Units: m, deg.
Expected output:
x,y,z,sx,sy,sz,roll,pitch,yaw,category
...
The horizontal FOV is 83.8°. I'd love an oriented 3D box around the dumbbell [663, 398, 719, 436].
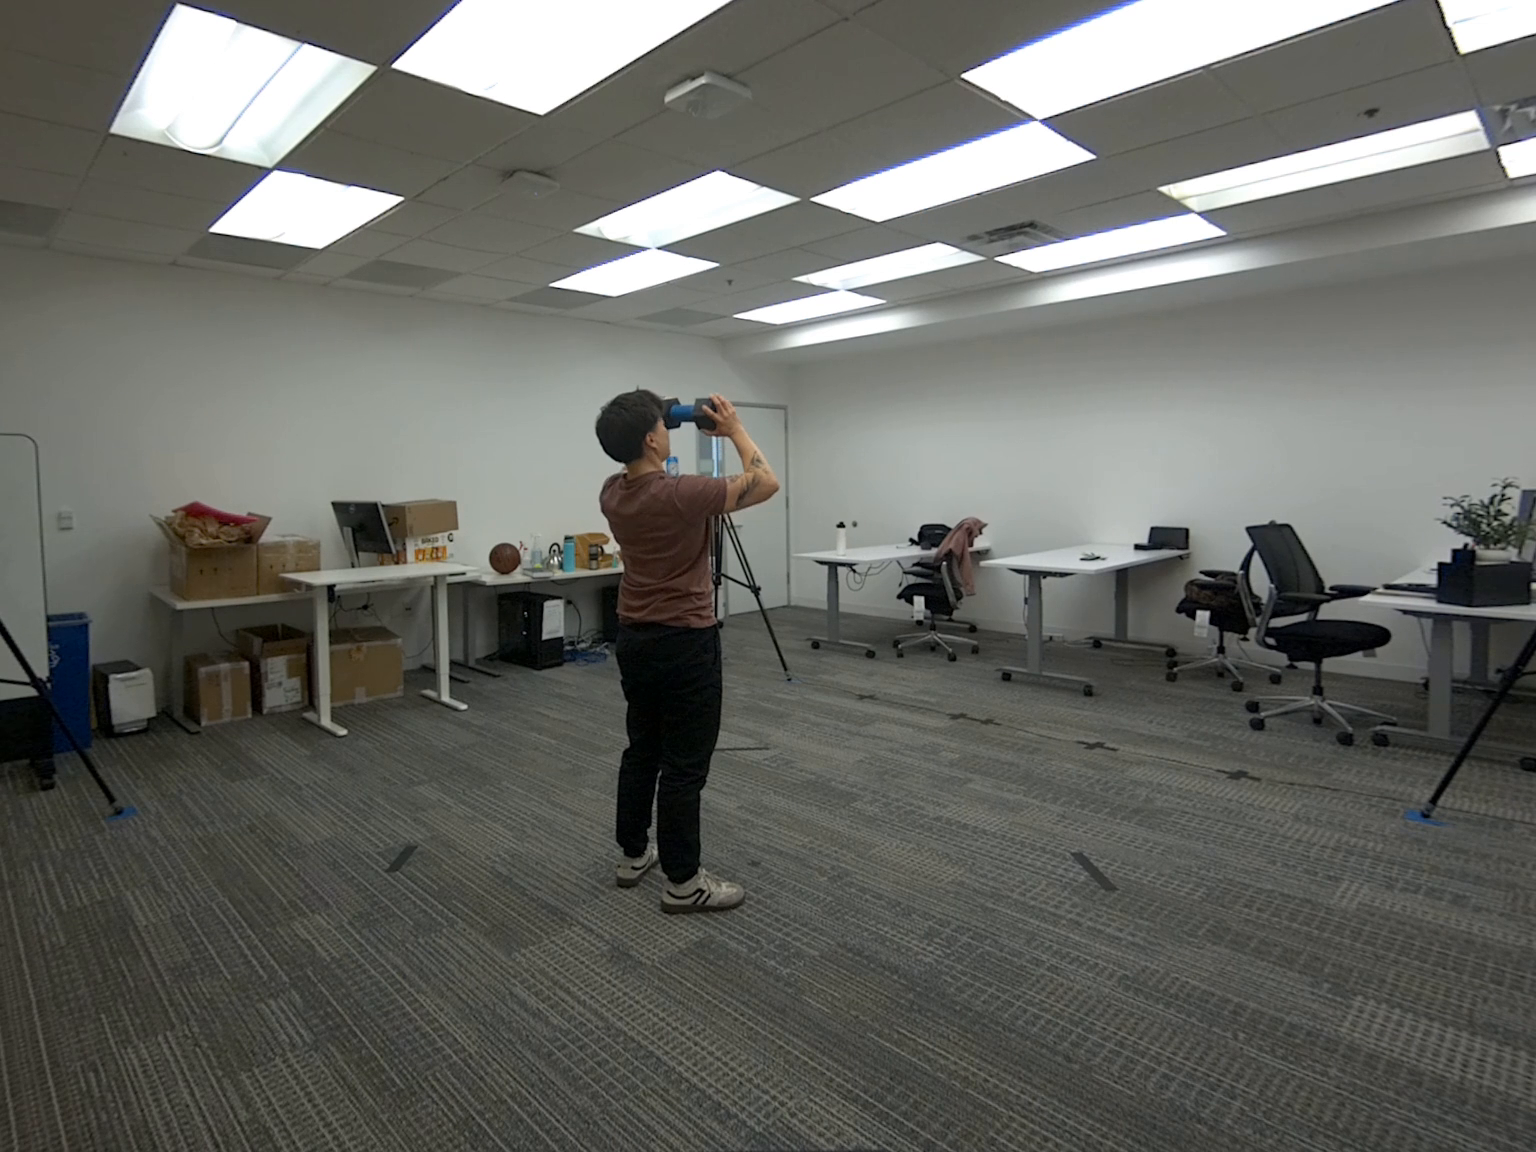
x,y,z,sx,sy,sz,roll,pitch,yaw,category
-0.275,-0.563,2.918,0.303,0.118,0.109,9,52,42,dumbbell
